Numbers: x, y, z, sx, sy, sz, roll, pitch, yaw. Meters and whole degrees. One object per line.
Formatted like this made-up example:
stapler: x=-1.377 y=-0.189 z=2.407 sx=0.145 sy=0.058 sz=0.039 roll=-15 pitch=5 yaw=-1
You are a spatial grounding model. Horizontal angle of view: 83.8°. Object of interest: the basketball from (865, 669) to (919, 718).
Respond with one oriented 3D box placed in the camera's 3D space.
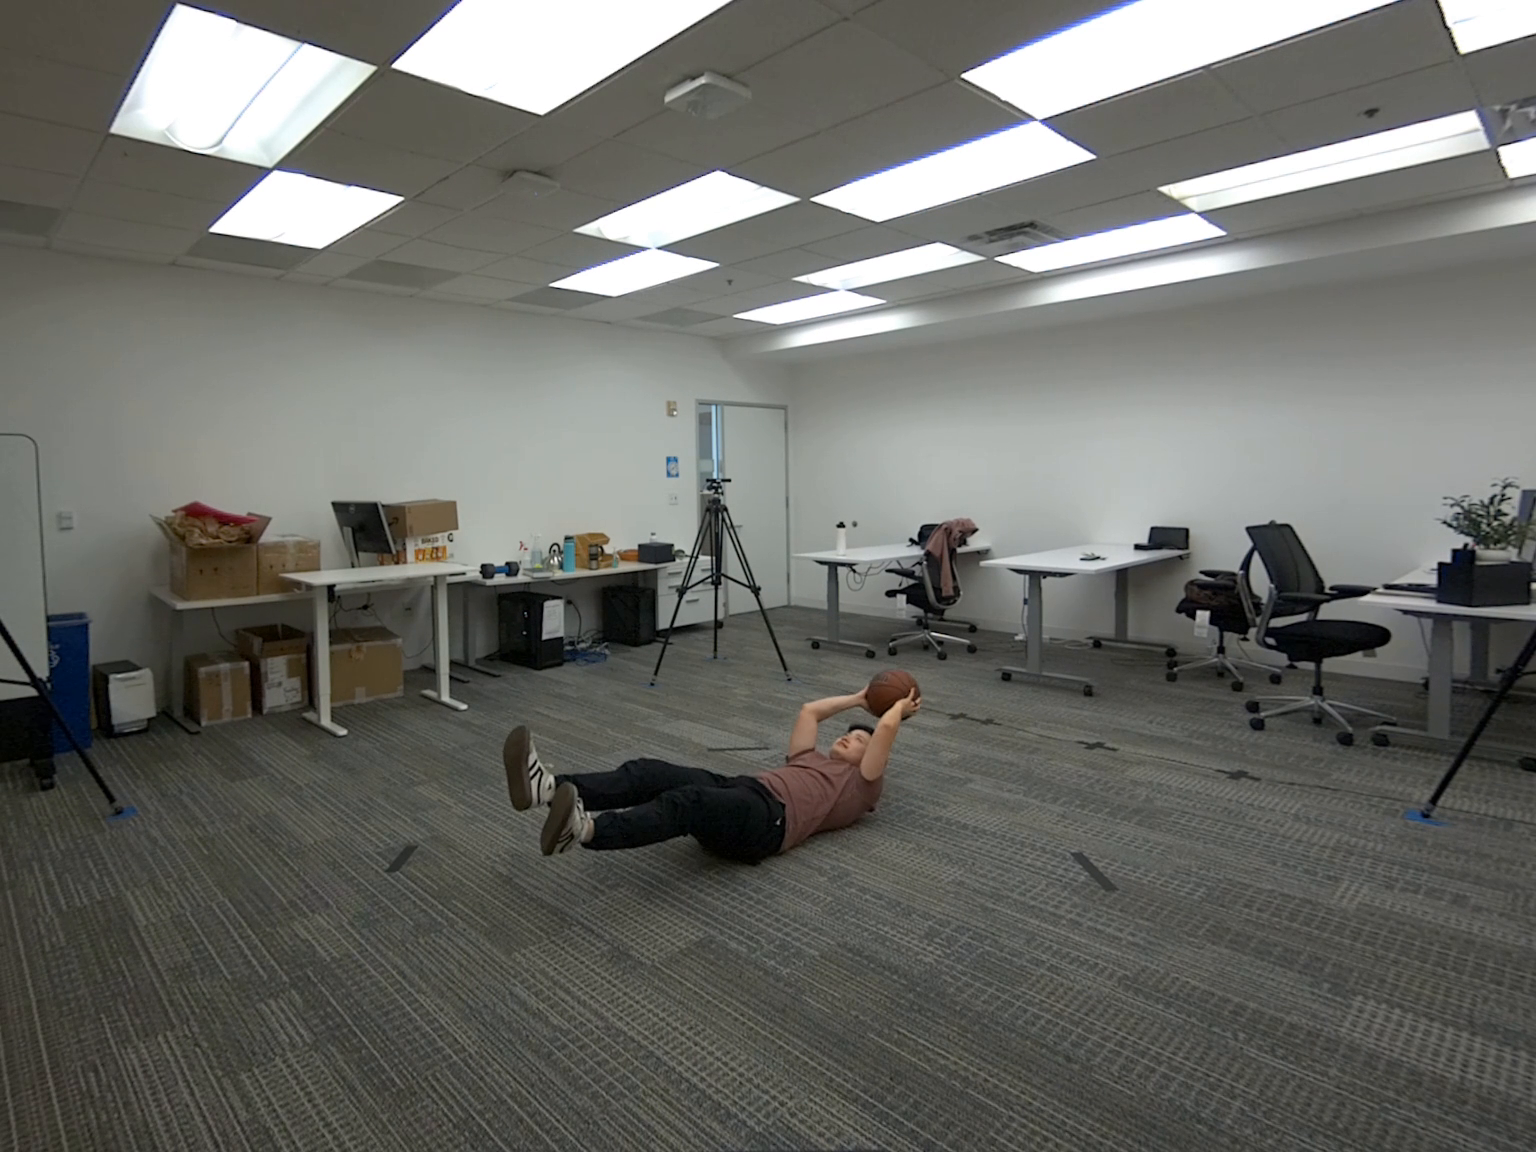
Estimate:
basketball: x=0.565 y=0.539 z=3.833 sx=0.236 sy=0.235 sz=0.237 roll=-2 pitch=5 yaw=-2
